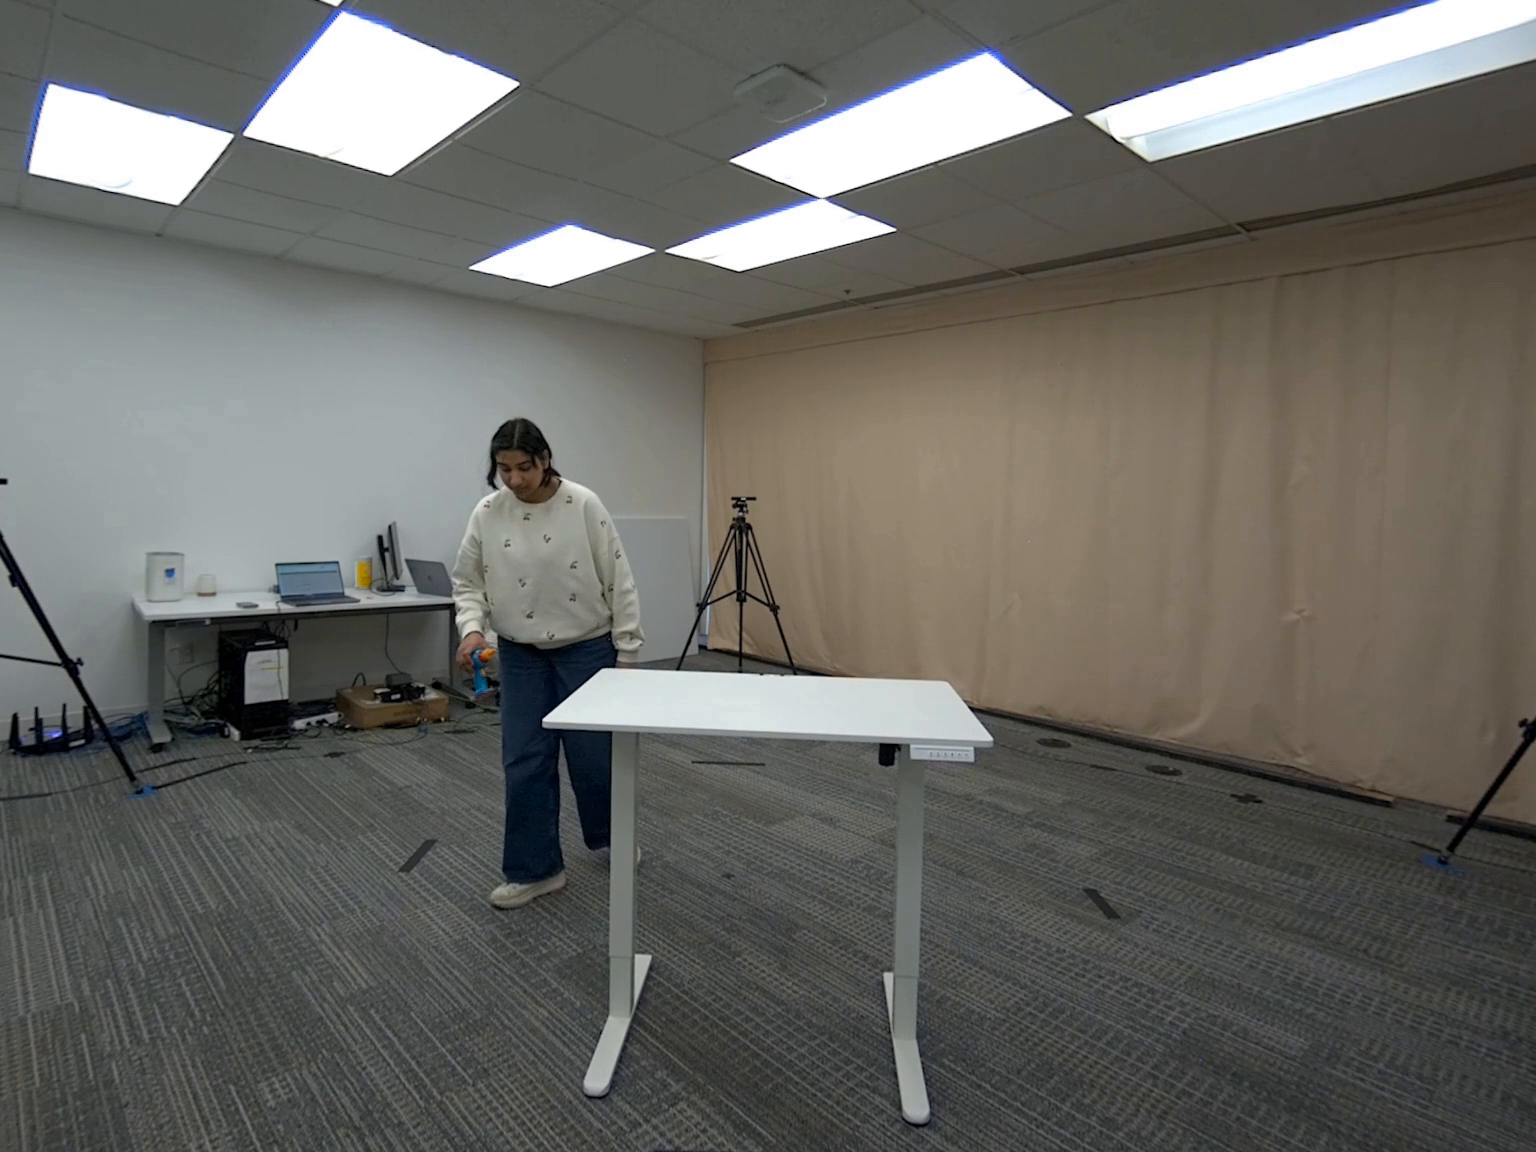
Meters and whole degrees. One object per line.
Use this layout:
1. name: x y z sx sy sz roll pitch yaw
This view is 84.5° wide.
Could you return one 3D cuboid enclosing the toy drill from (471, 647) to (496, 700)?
1. toy drill: -0.893 0.301 2.643 0.171 0.148 0.060 -28 -15 36
